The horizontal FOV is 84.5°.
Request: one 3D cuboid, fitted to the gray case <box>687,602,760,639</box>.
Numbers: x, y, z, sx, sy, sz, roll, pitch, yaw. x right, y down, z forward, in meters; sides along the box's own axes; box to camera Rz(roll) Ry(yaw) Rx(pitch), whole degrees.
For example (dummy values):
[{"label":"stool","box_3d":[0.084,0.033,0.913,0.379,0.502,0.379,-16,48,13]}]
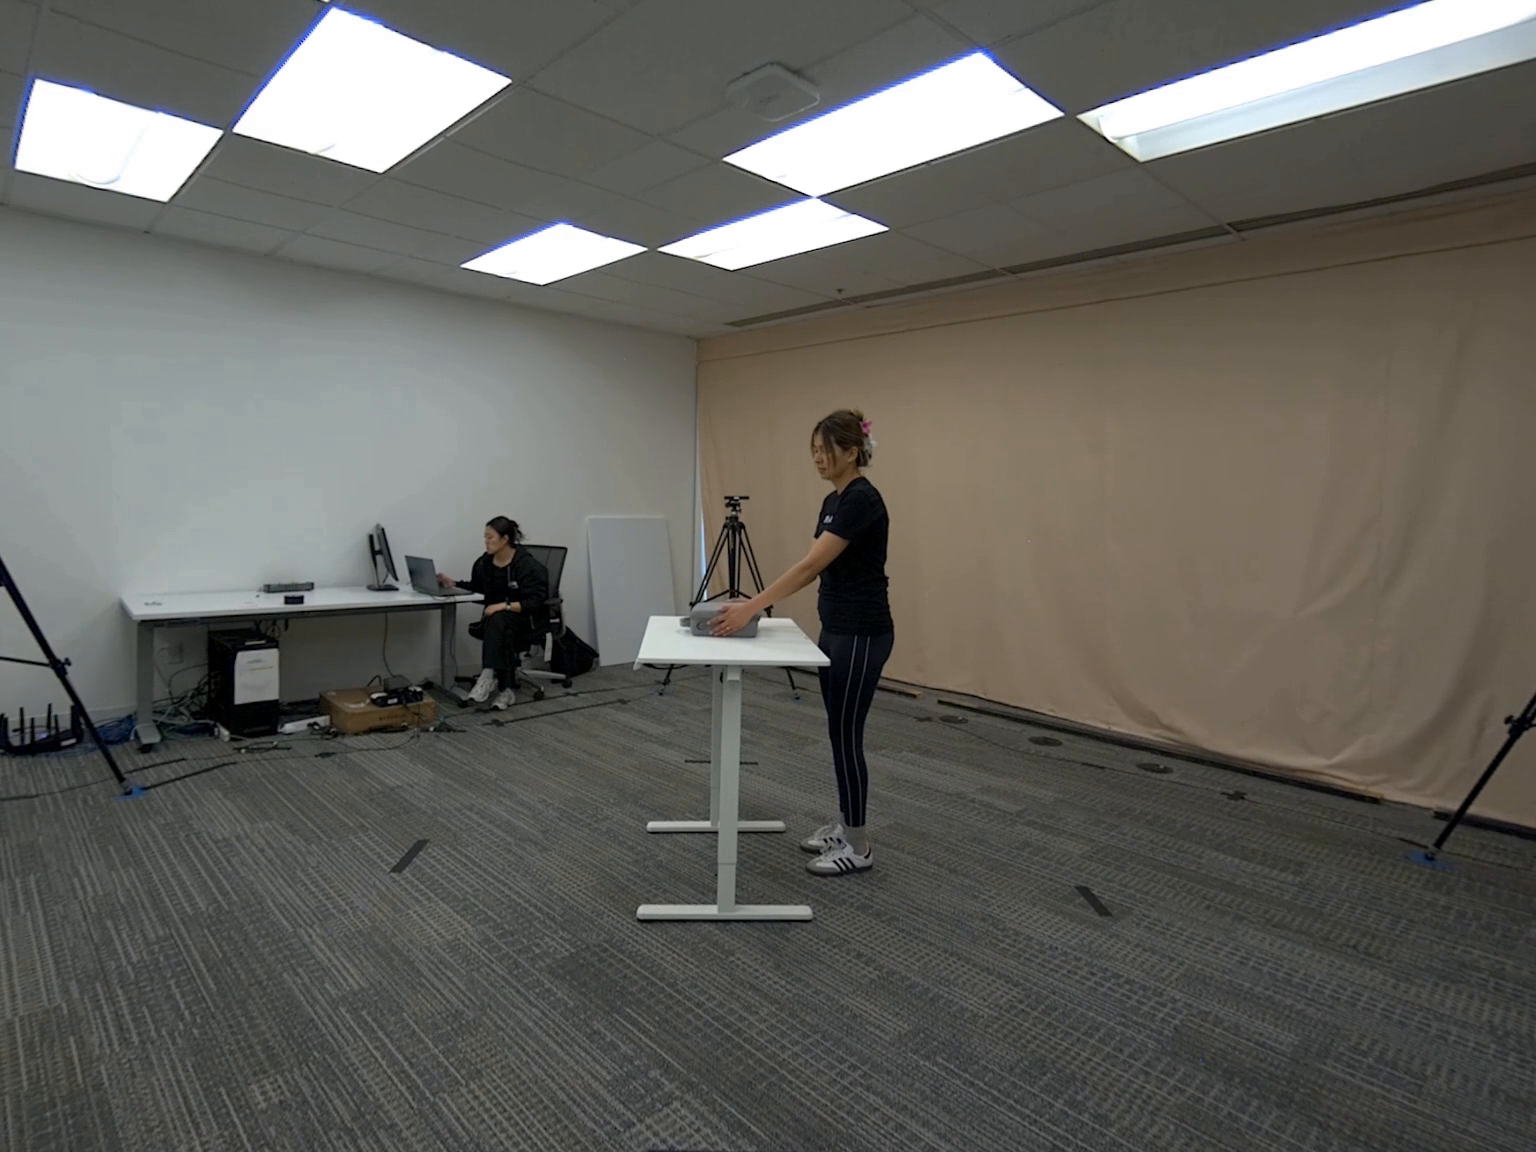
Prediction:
[{"label":"gray case","box_3d":[-0.167,0.163,3.184,0.261,0.104,0.257,0,6,2]}]
